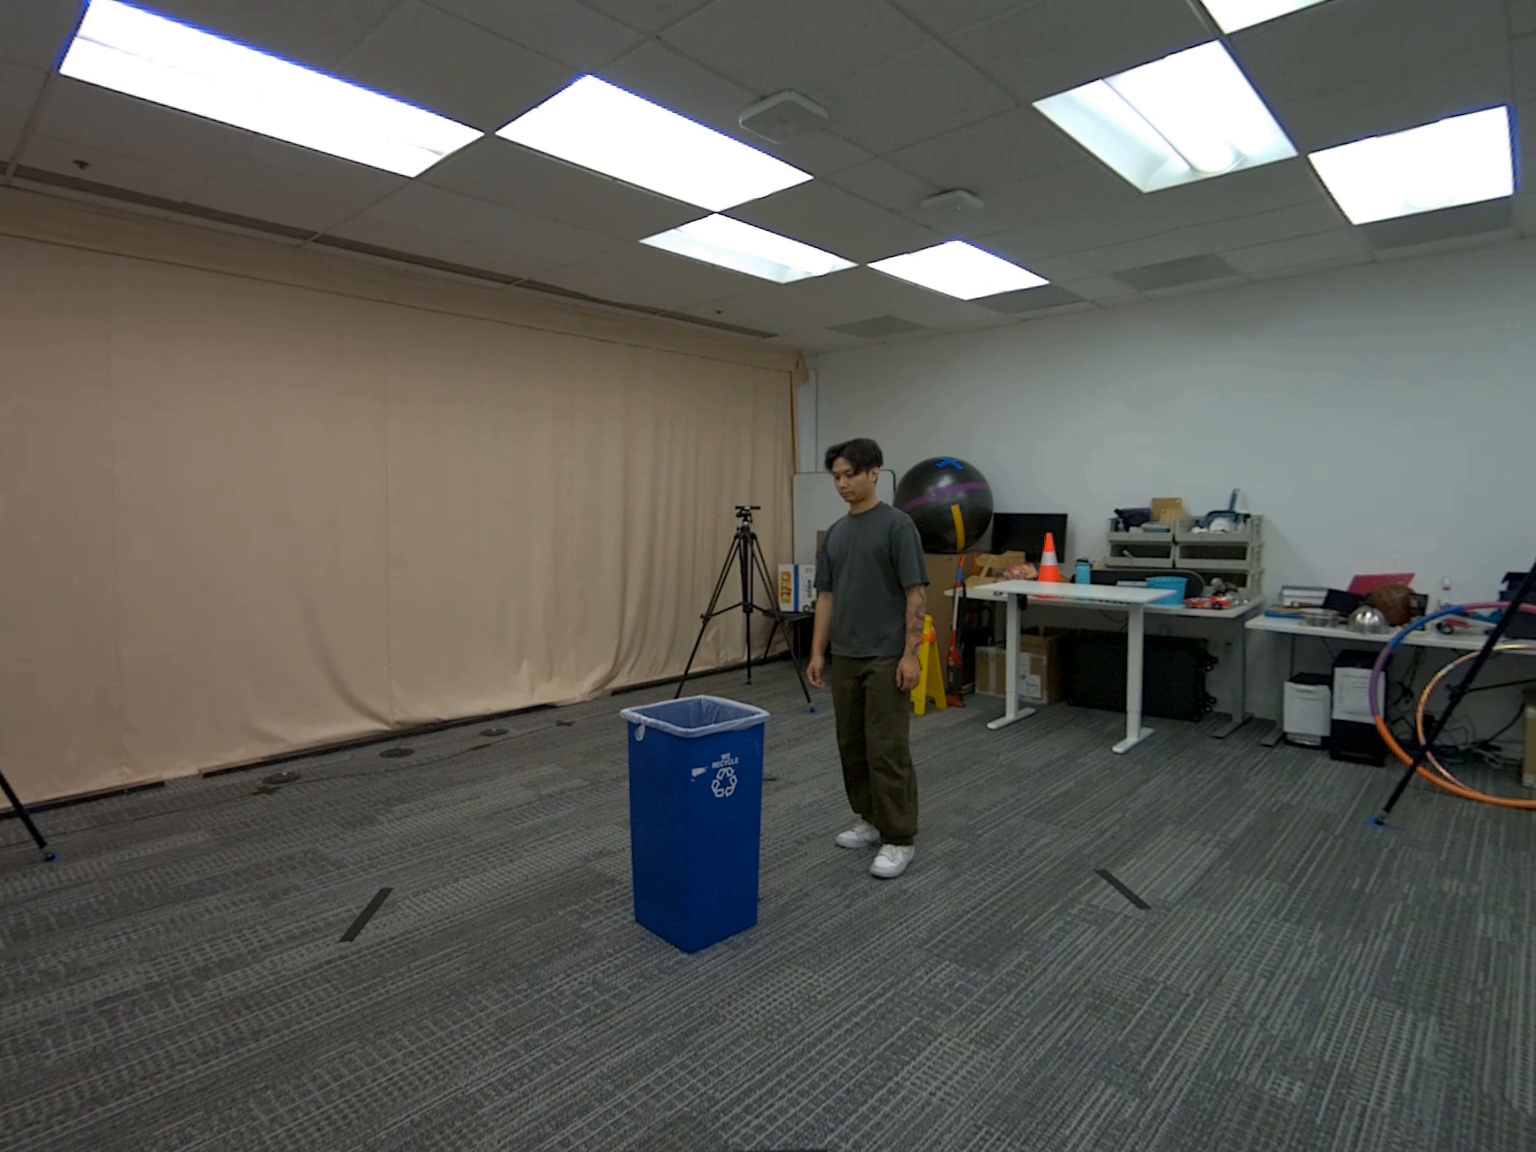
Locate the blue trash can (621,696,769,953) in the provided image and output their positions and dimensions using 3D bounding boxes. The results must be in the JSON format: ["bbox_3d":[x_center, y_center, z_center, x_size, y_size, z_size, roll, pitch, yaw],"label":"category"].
[{"bbox_3d":[-0.232,0.804,2.799,0.366,0.712,0.386,-2,3,-44],"label":"blue trash can"}]
